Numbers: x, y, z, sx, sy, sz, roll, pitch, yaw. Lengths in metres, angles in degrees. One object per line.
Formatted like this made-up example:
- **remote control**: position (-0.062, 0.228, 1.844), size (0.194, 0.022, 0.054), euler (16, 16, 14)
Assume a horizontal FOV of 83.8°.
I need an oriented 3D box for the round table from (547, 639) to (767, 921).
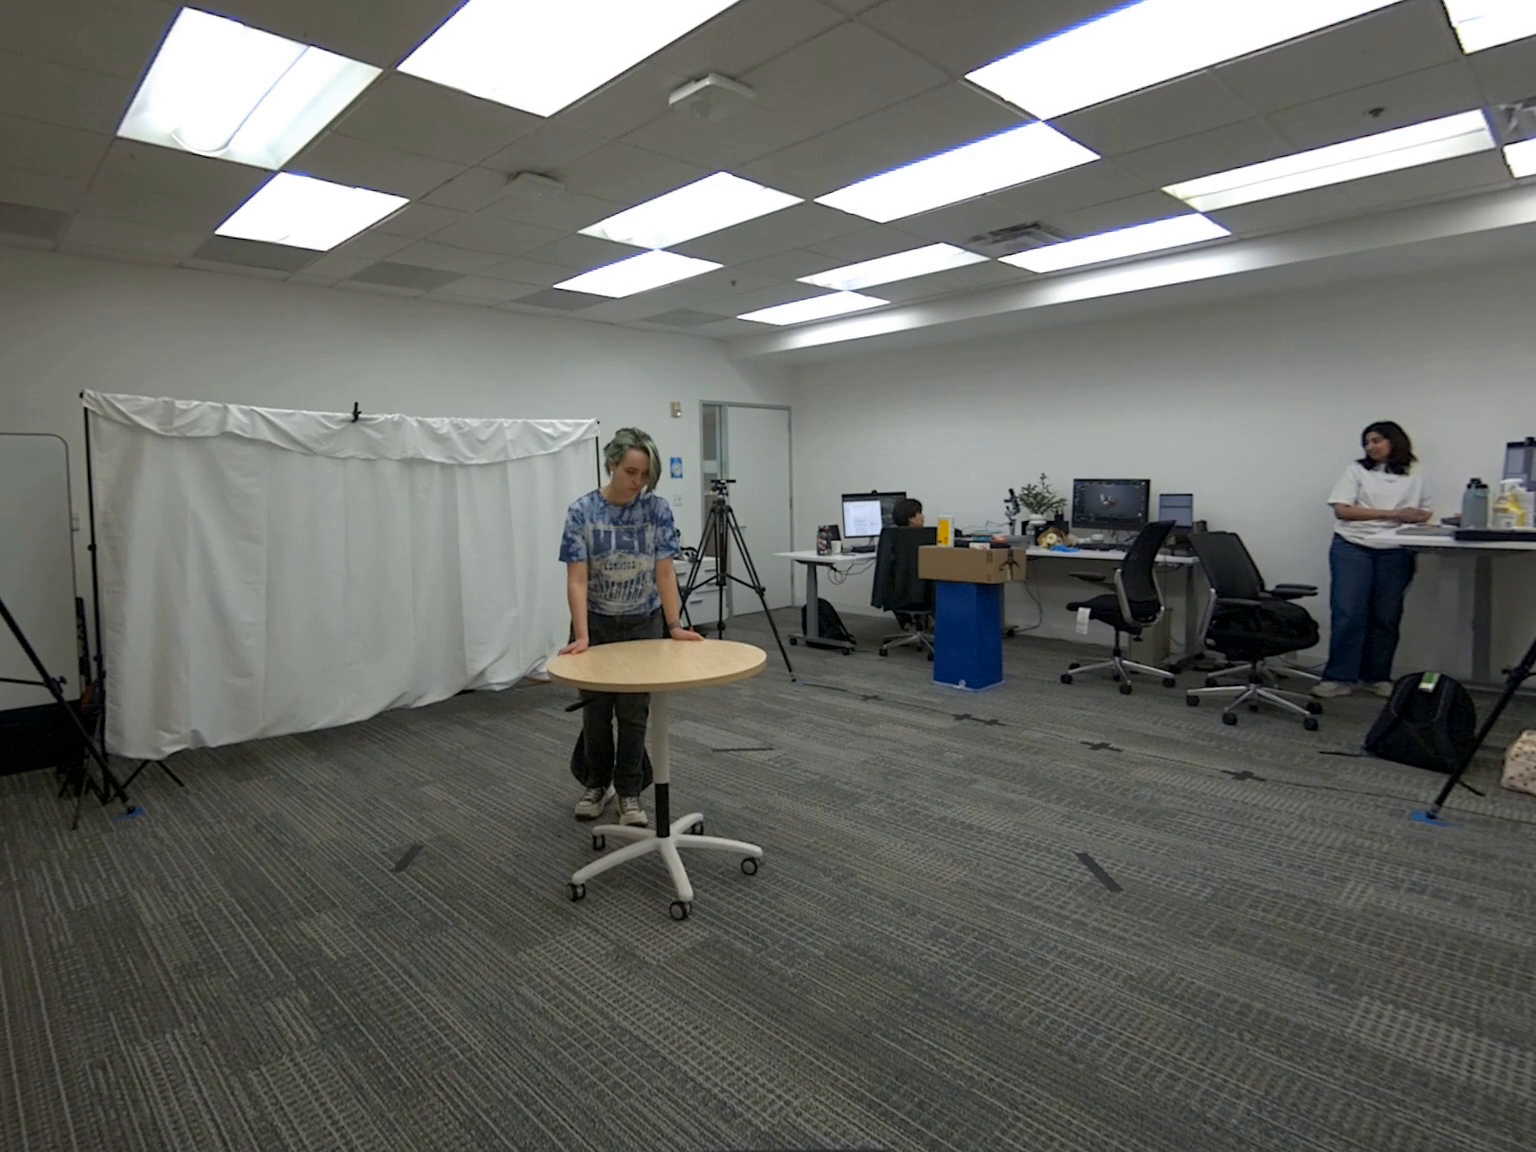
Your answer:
- **round table**: position (-0.380, 0.679, 3.021), size (0.763, 0.791, 0.768), euler (-2, 4, -2)
